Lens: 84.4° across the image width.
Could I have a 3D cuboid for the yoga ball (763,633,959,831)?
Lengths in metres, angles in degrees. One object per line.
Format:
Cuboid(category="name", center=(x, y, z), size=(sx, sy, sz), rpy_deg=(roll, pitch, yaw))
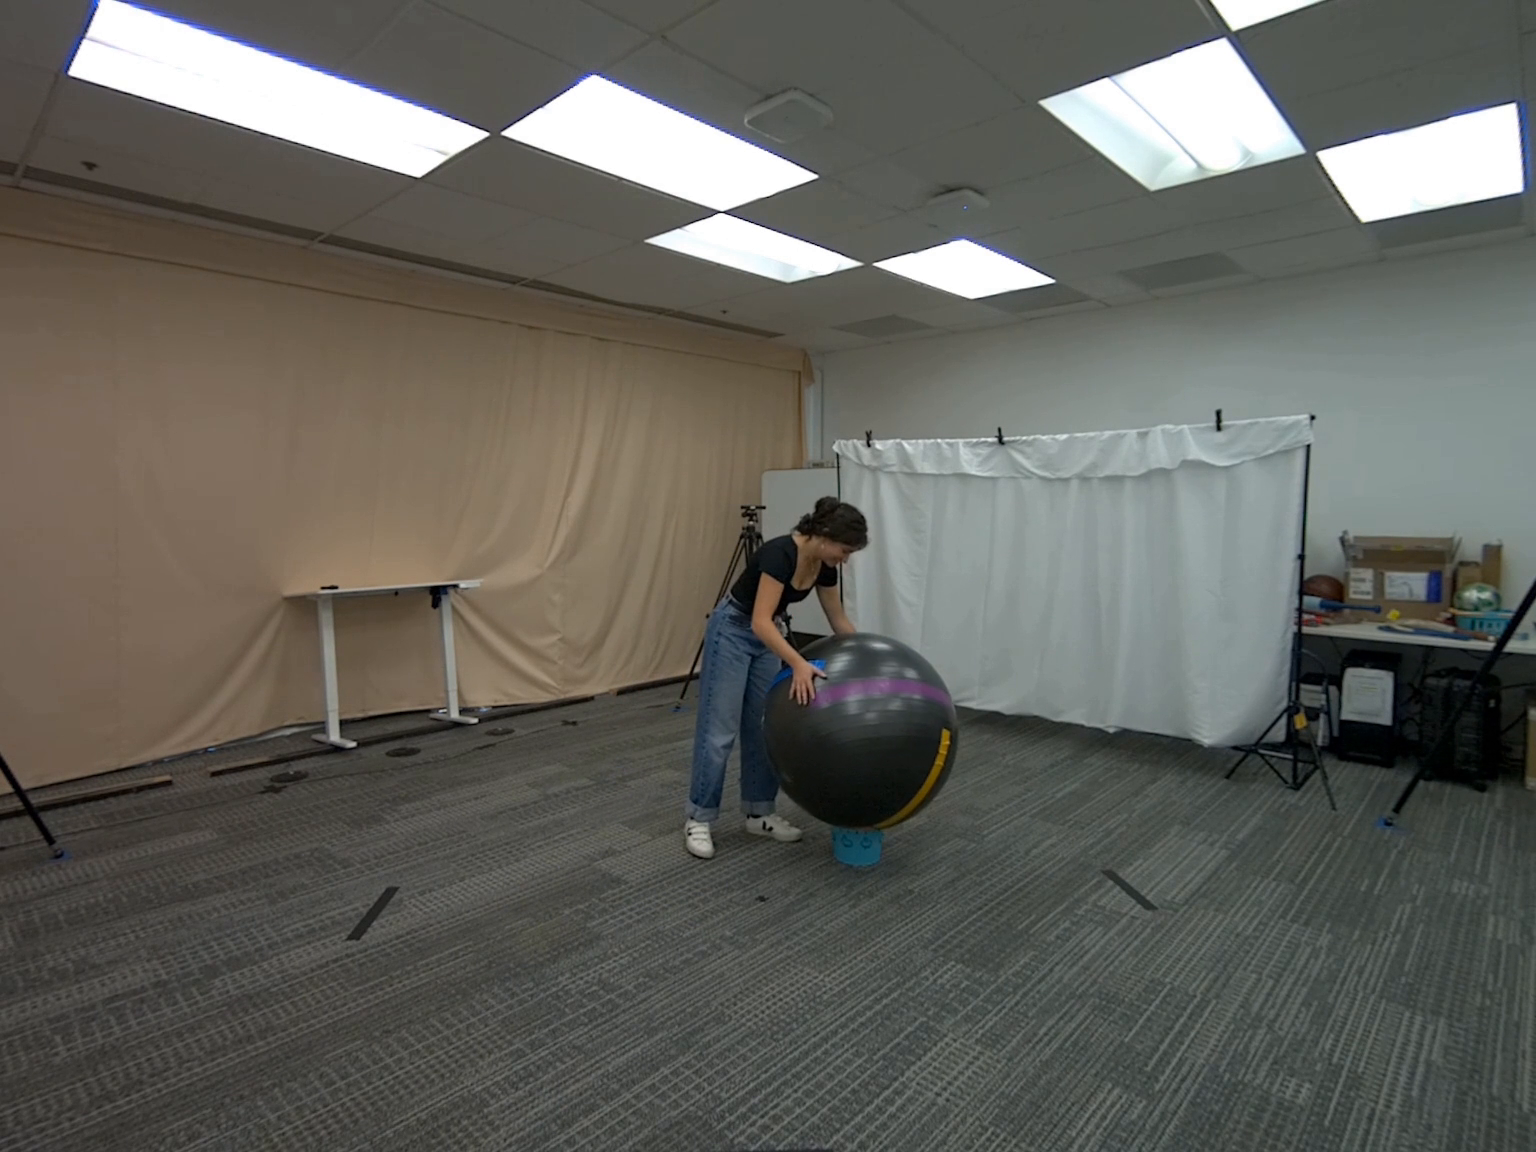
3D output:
Cuboid(category="yoga ball", center=(0.354, 0.608, 3.307), size=(0.757, 0.756, 0.760), rpy_deg=(0, 4, -2))
